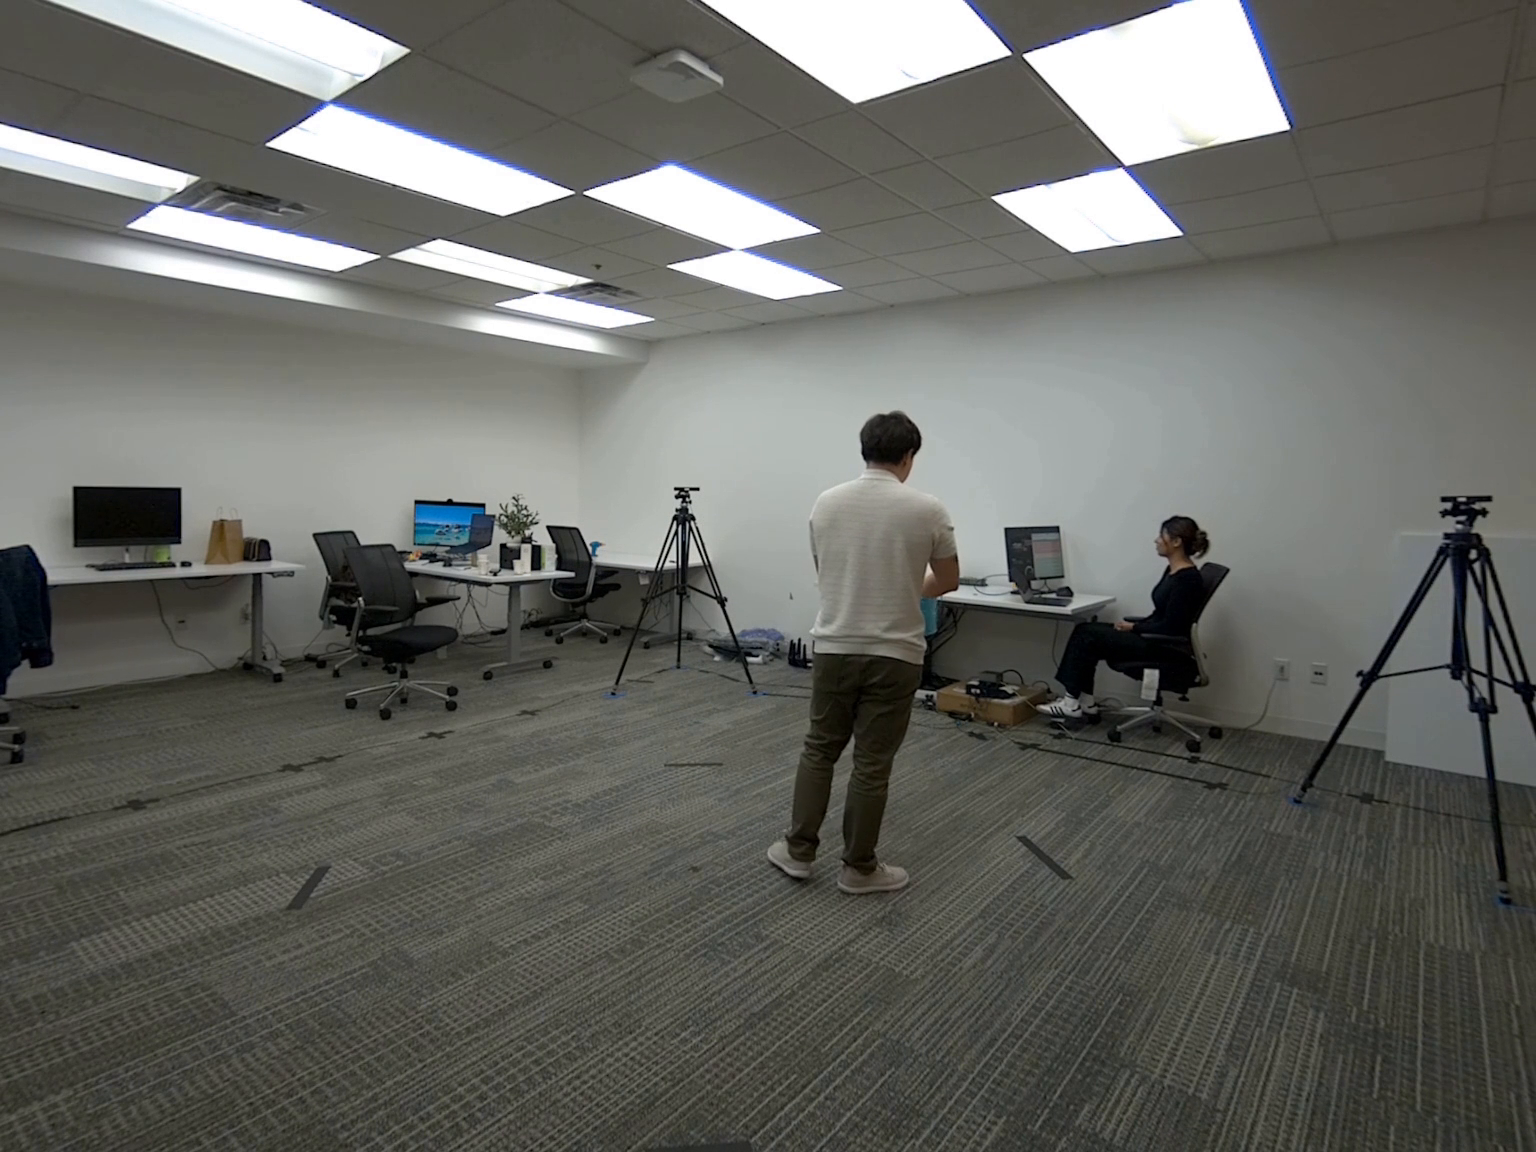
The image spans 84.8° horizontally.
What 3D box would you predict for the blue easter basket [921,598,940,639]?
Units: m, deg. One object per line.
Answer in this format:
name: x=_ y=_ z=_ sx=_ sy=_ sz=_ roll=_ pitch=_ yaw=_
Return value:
blue easter basket: x=0.561 y=0.145 z=3.332 sx=0.243 sy=0.155 sz=0.245 roll=-5 pitch=4 yaw=-2
